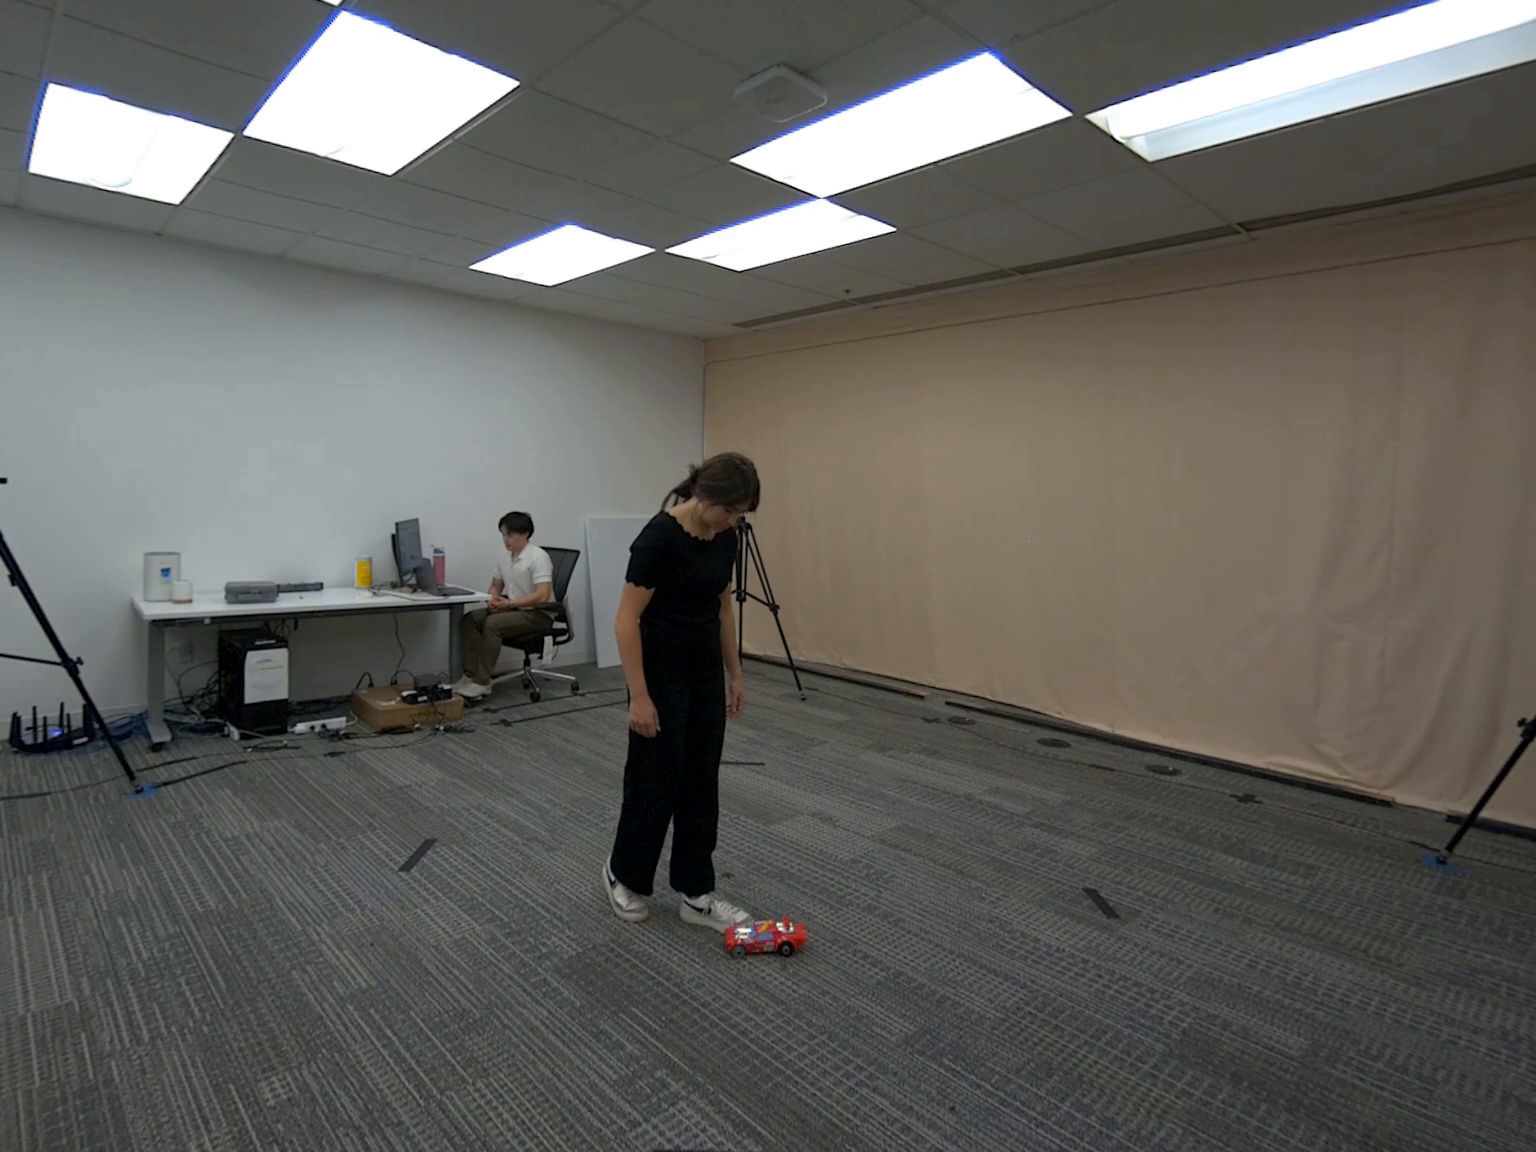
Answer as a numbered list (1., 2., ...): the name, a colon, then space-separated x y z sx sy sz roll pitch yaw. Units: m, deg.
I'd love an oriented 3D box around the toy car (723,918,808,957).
1. toy car: -0.008 1.122 2.604 0.254 0.083 0.131 -11 7 -6
